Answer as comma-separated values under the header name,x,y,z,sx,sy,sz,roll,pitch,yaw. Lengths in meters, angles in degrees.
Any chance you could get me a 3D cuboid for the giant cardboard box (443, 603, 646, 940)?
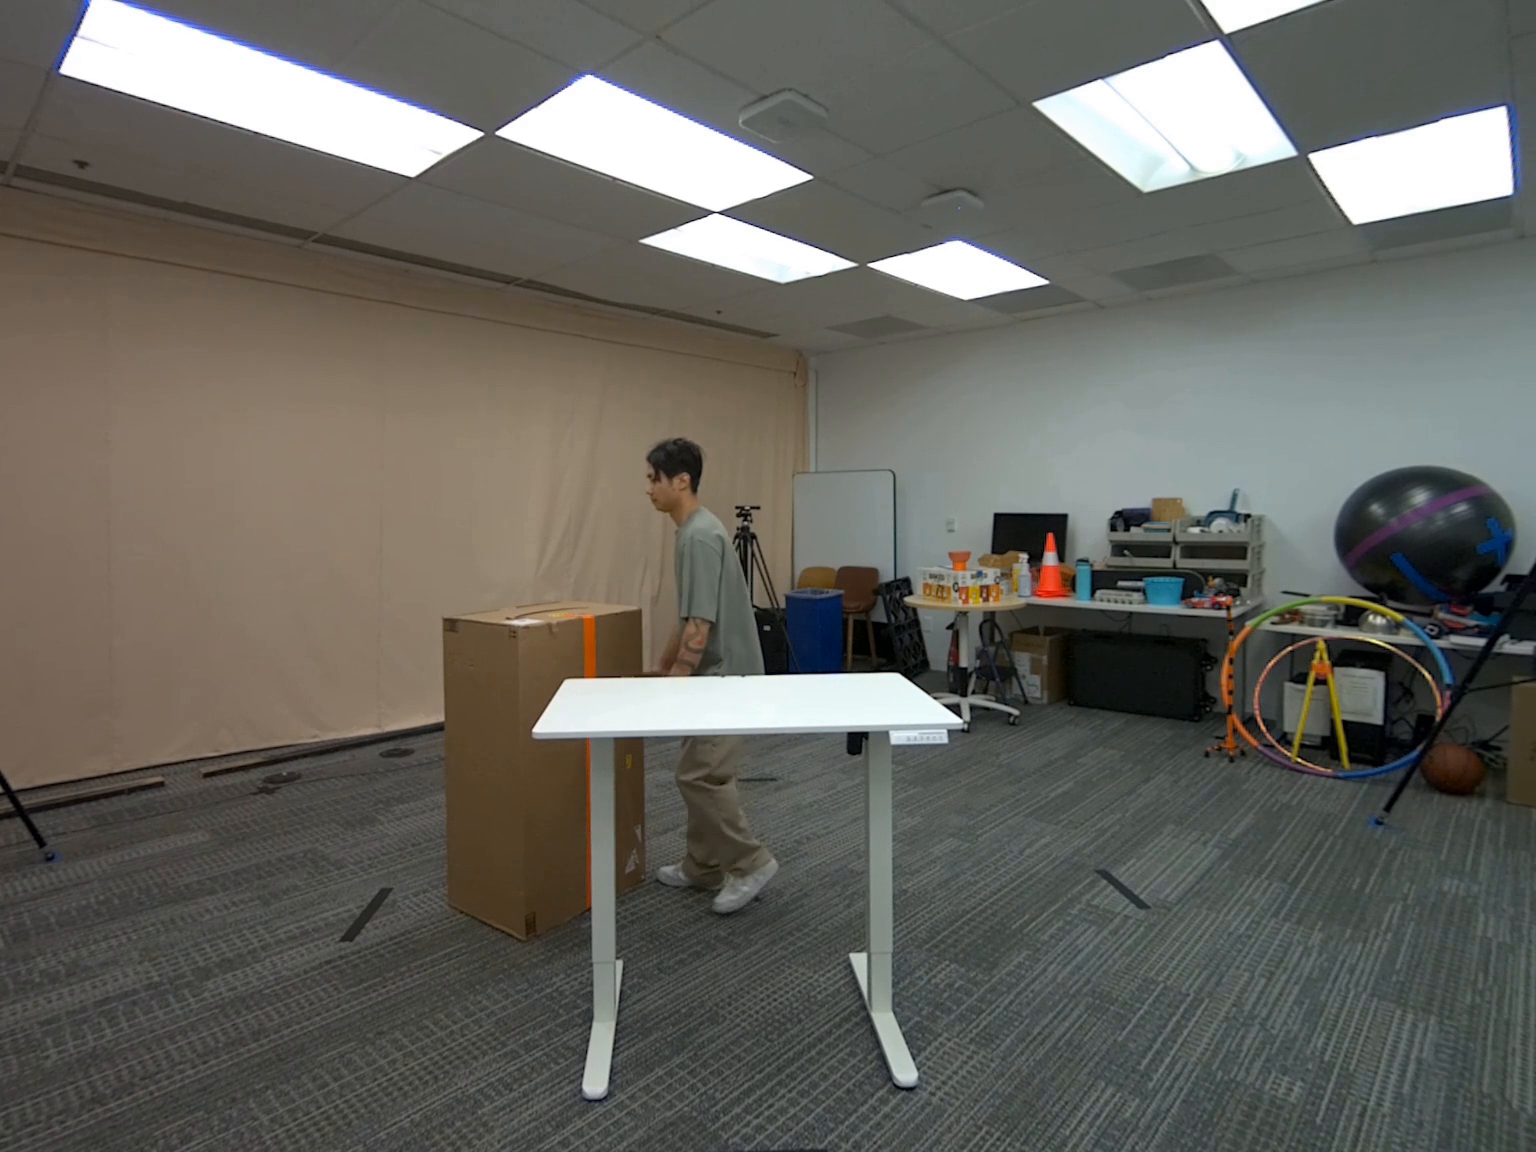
name,x,y,z,sx,sy,sz,roll,pitch,yaw
giant cardboard box,-0.793,0.639,3.027,0.440,1.024,0.560,2,3,36
